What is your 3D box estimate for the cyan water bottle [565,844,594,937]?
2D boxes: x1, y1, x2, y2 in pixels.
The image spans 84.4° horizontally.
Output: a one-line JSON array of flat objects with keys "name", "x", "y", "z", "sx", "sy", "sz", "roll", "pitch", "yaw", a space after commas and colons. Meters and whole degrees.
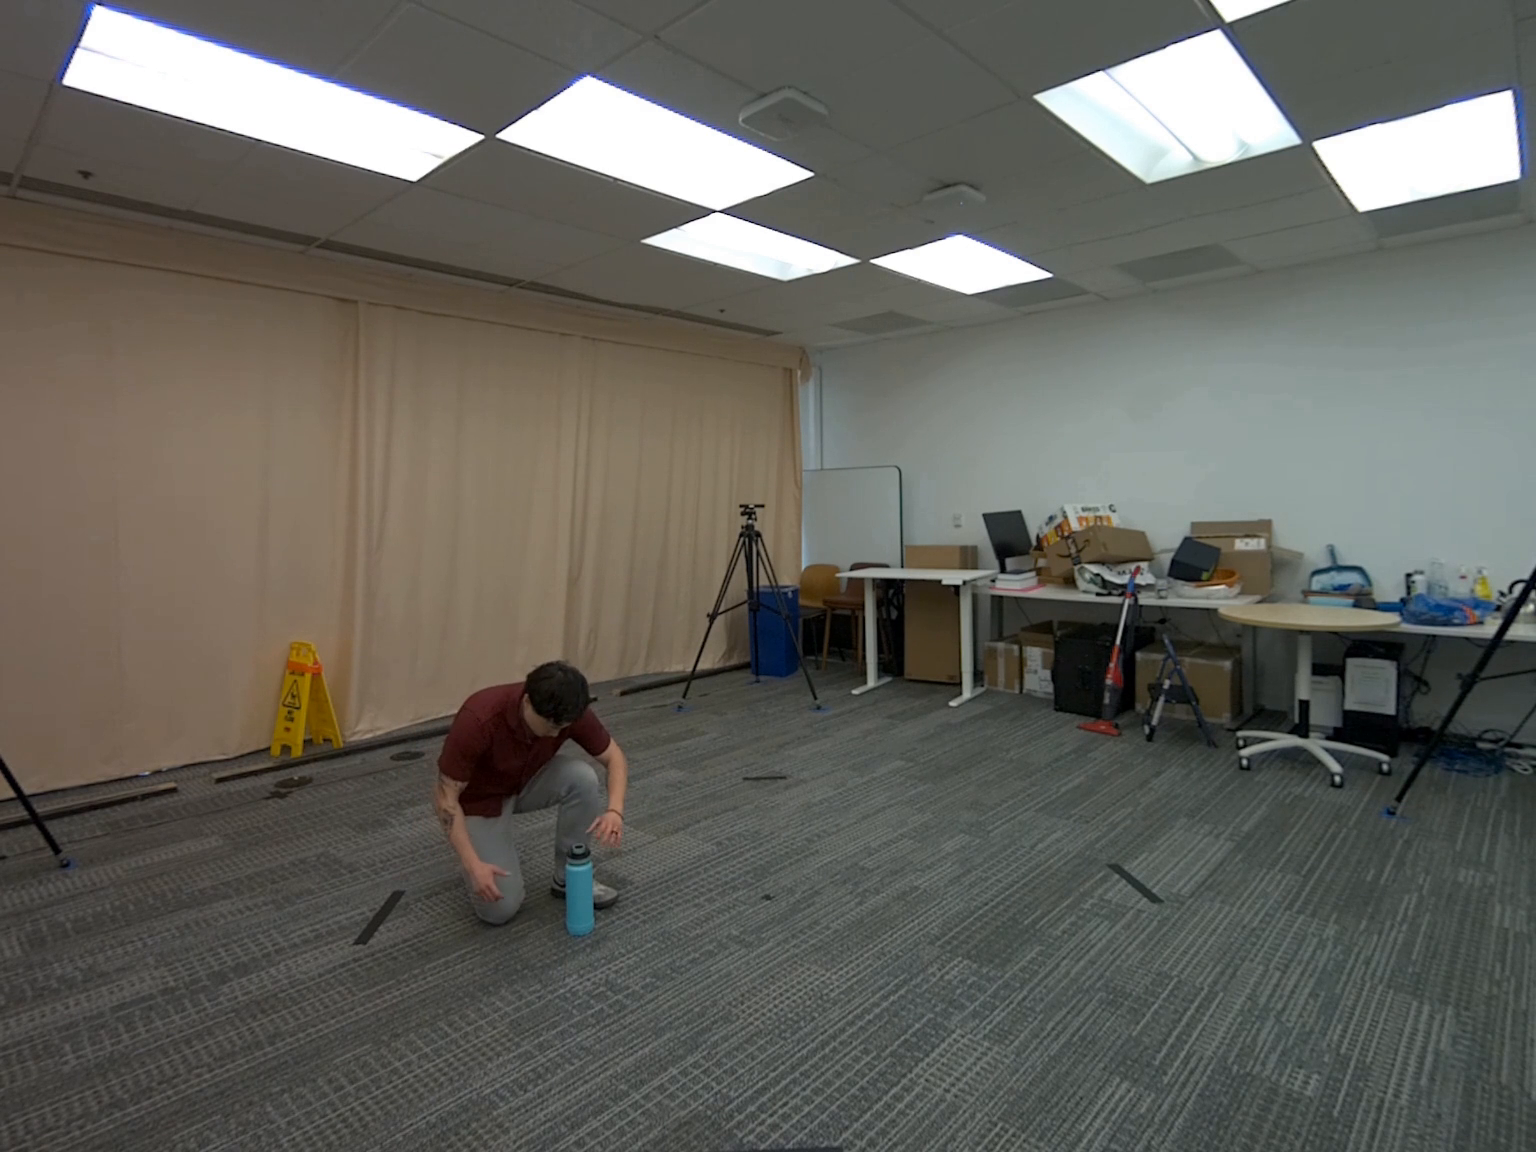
[{"name": "cyan water bottle", "x": -0.625, "y": 1.035, "z": 2.782, "sx": 0.092, "sy": 0.283, "sz": 0.092, "roll": 0, "pitch": 1, "yaw": -2}]
